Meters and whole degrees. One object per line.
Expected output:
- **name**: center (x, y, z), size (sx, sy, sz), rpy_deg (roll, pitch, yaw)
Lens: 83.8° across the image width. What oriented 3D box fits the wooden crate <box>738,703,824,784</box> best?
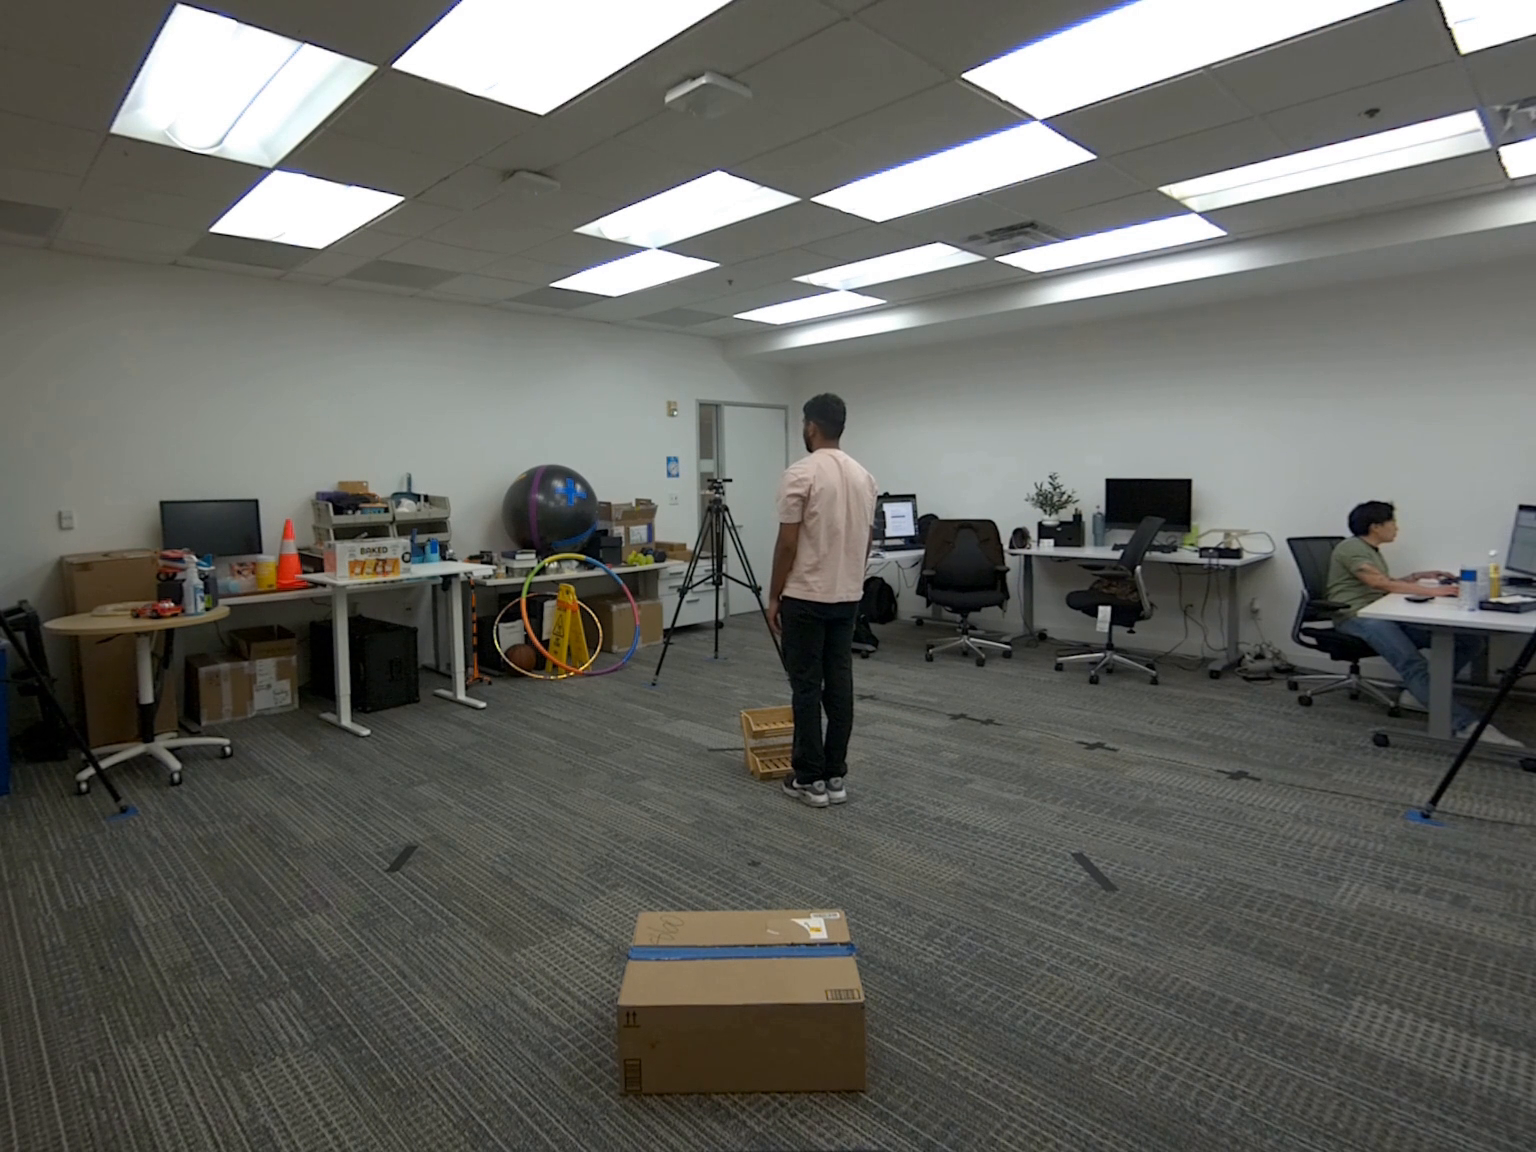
- **wooden crate**: center (0.058, 0.790, 4.113), size (0.319, 0.272, 0.308), rpy_deg (-3, 5, -18)
